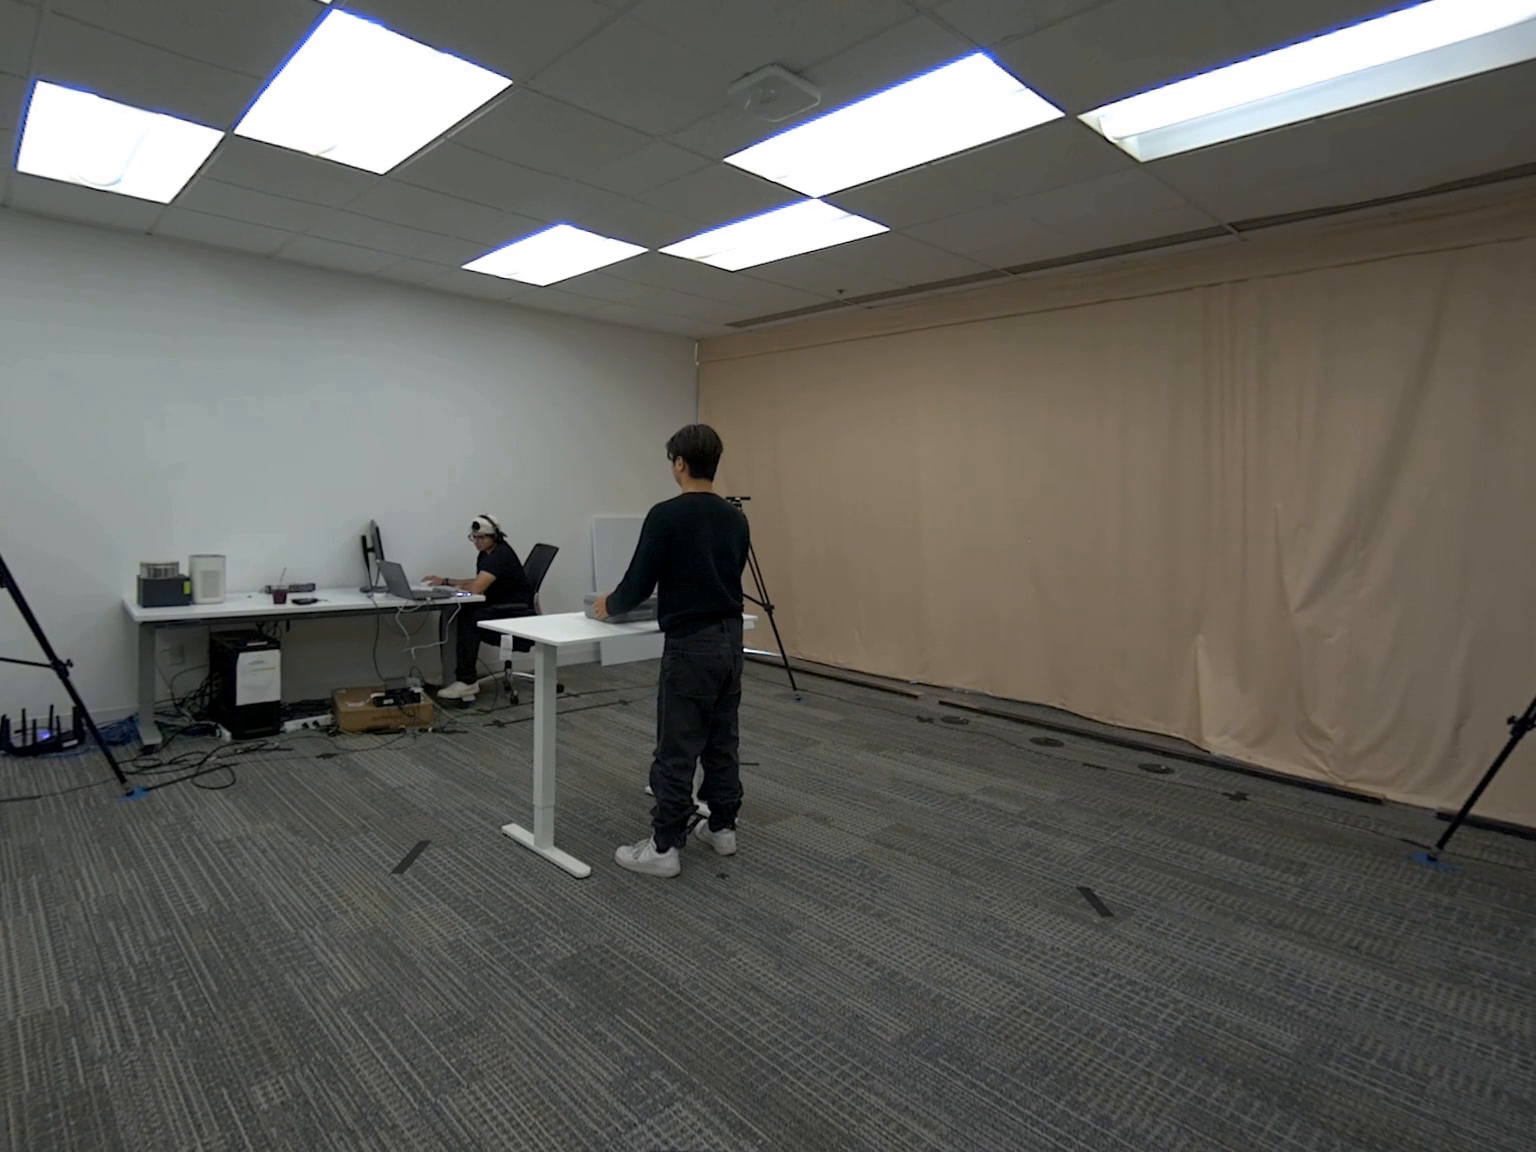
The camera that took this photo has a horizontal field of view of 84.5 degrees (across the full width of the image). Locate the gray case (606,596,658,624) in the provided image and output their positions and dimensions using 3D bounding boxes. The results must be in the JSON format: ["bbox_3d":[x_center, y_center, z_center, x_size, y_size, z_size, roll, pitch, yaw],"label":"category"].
[{"bbox_3d":[-0.614,0.127,3.521,0.251,0.104,0.267,-2,5,-41],"label":"gray case"}]
